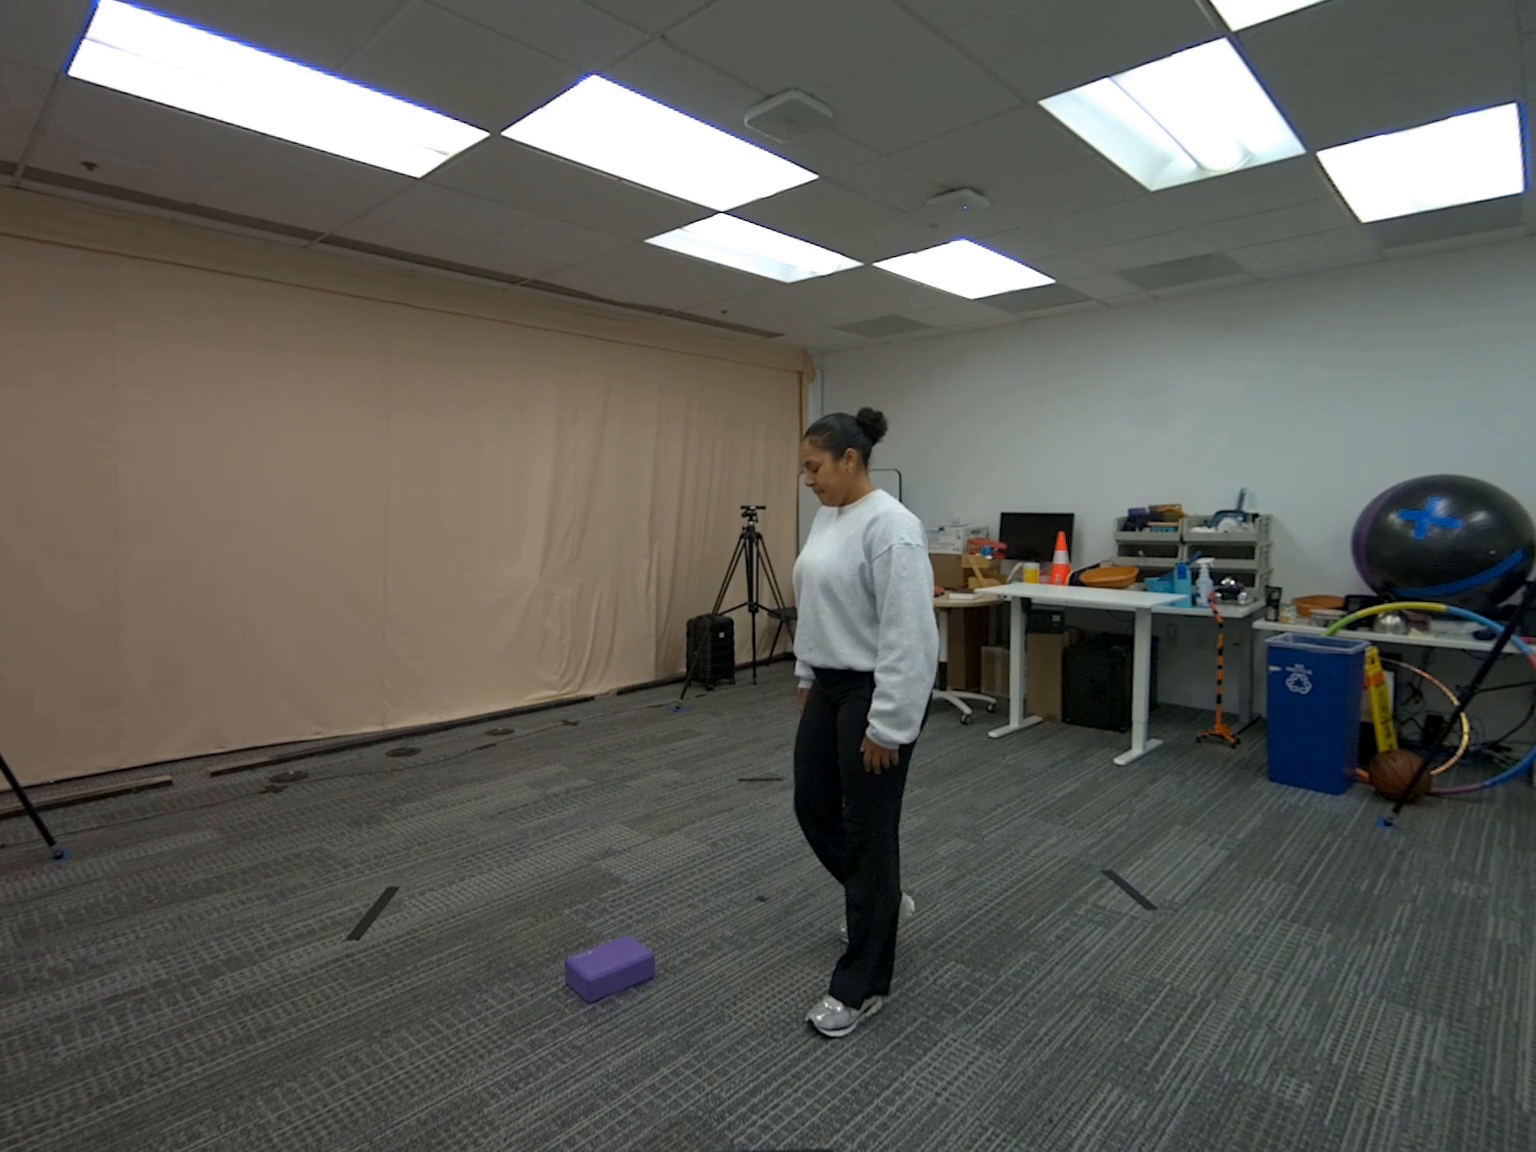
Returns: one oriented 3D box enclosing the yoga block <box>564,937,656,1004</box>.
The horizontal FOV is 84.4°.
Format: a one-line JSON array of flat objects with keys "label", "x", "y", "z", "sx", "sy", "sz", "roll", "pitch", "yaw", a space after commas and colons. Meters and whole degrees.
[{"label": "yoga block", "x": -0.463, "y": 1.156, "z": 2.470, "sx": 0.222, "sy": 0.076, "sz": 0.154, "roll": -4, "pitch": 6, "yaw": -39}]
